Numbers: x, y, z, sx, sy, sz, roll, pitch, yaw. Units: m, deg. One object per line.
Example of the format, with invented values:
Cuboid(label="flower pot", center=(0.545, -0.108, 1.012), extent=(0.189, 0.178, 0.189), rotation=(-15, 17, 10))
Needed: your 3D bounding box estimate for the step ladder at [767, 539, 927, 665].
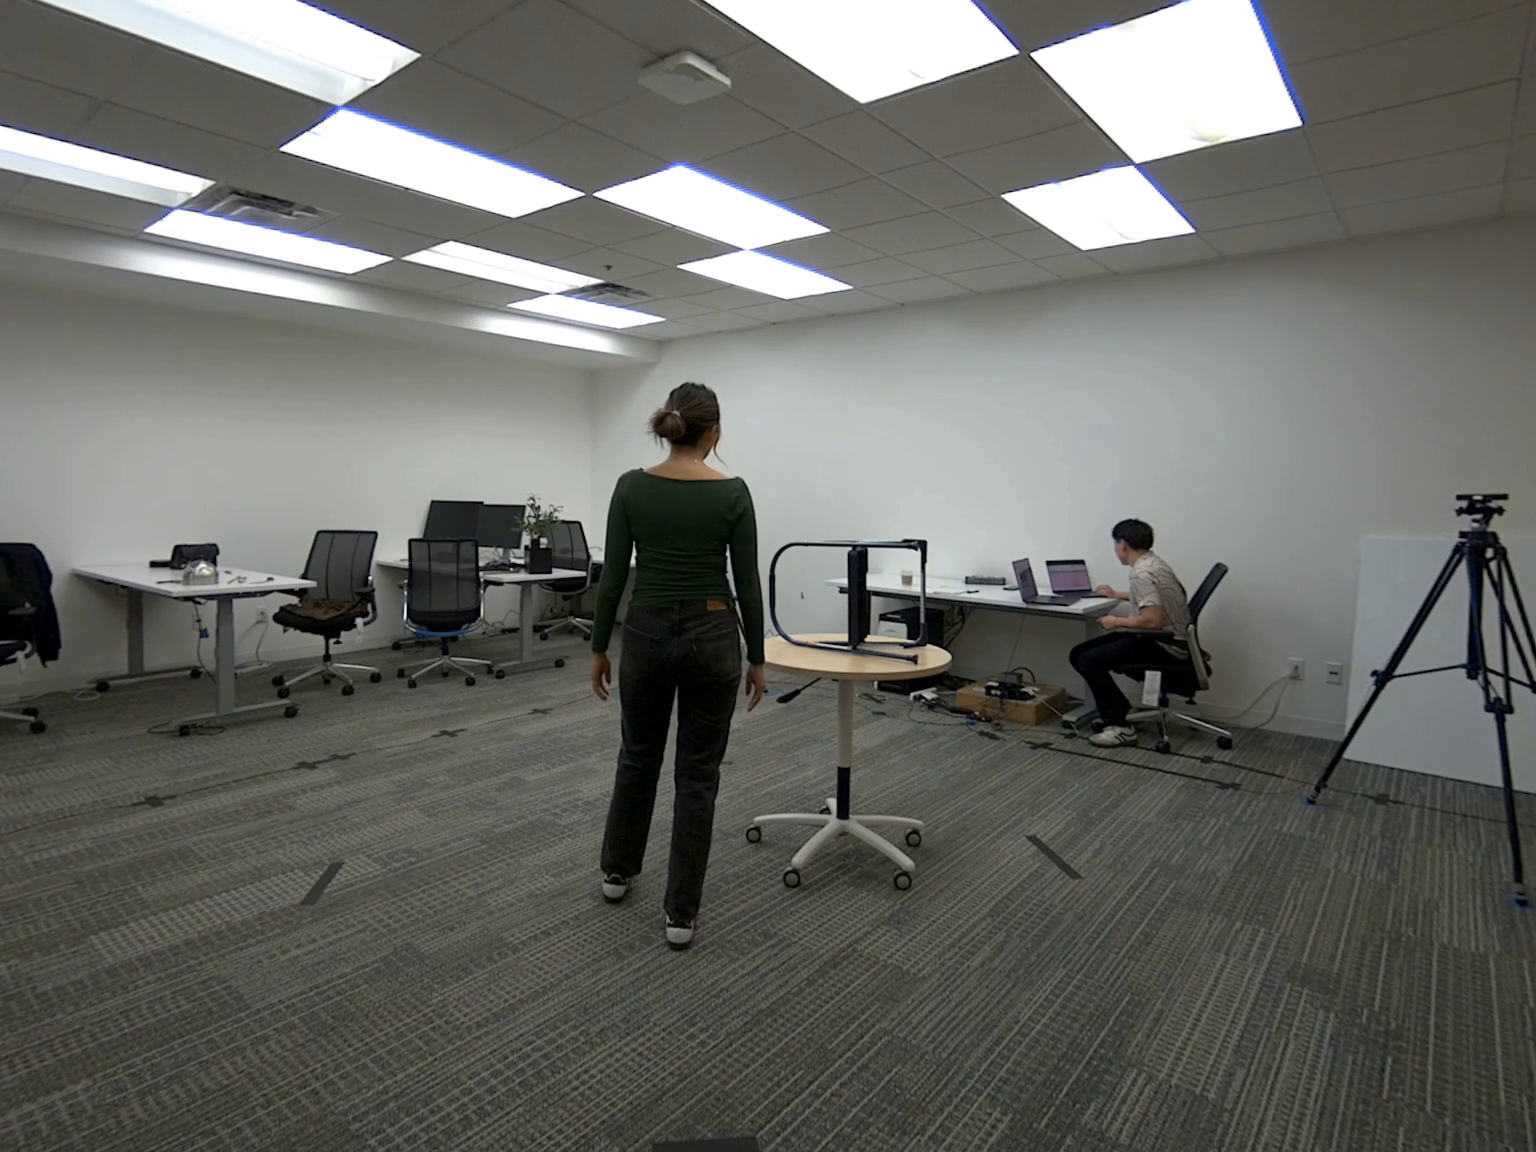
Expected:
Cuboid(label="step ladder", center=(0.268, 0.069, 3.216), extent=(0.618, 0.430, 0.343), rotation=(1, 3, 19))
